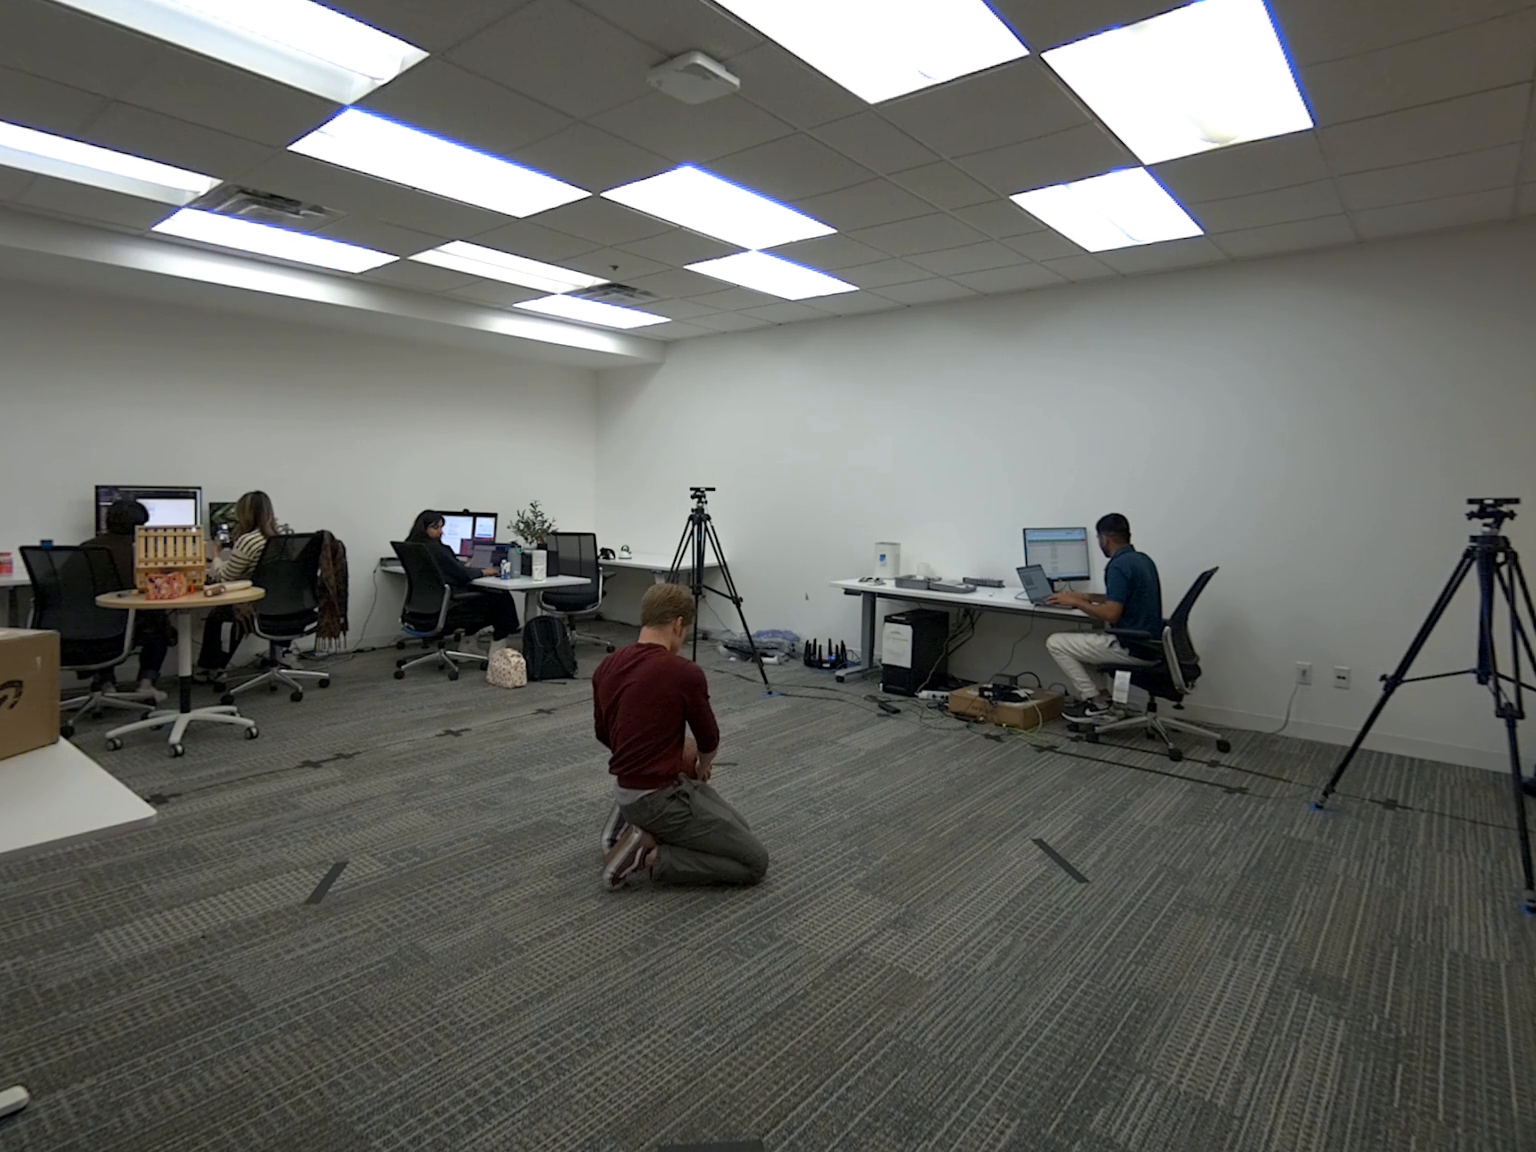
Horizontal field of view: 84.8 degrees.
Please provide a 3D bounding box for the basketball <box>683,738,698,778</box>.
[{"bbox_3d":[-0.364,0.776,3.518,0.235,0.235,0.237,1,4,-2],"label":"basketball"}]
